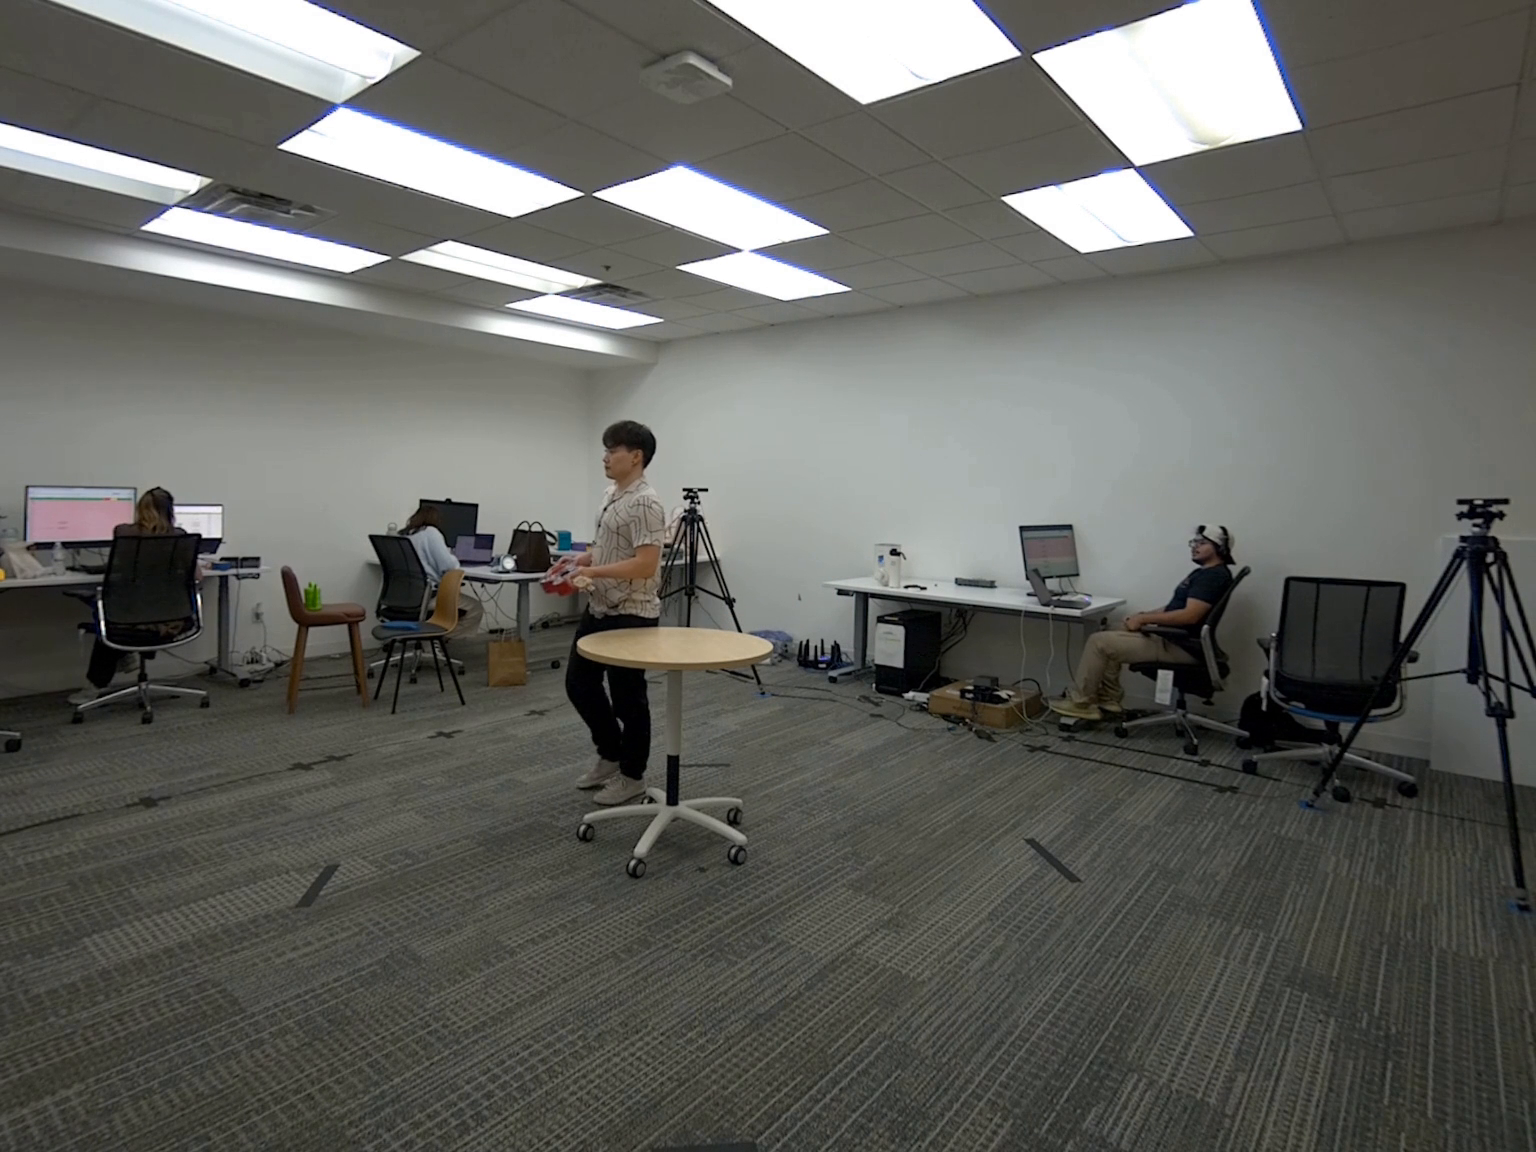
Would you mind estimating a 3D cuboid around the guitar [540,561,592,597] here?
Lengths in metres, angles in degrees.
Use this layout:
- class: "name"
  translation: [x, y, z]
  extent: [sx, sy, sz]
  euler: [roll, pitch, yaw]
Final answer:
- class: "guitar"
  translation: [-0.865, 0.029, 3.556]
  extent: [0.192, 0.069, 0.513]
  euler: [-33, 22, -12]
